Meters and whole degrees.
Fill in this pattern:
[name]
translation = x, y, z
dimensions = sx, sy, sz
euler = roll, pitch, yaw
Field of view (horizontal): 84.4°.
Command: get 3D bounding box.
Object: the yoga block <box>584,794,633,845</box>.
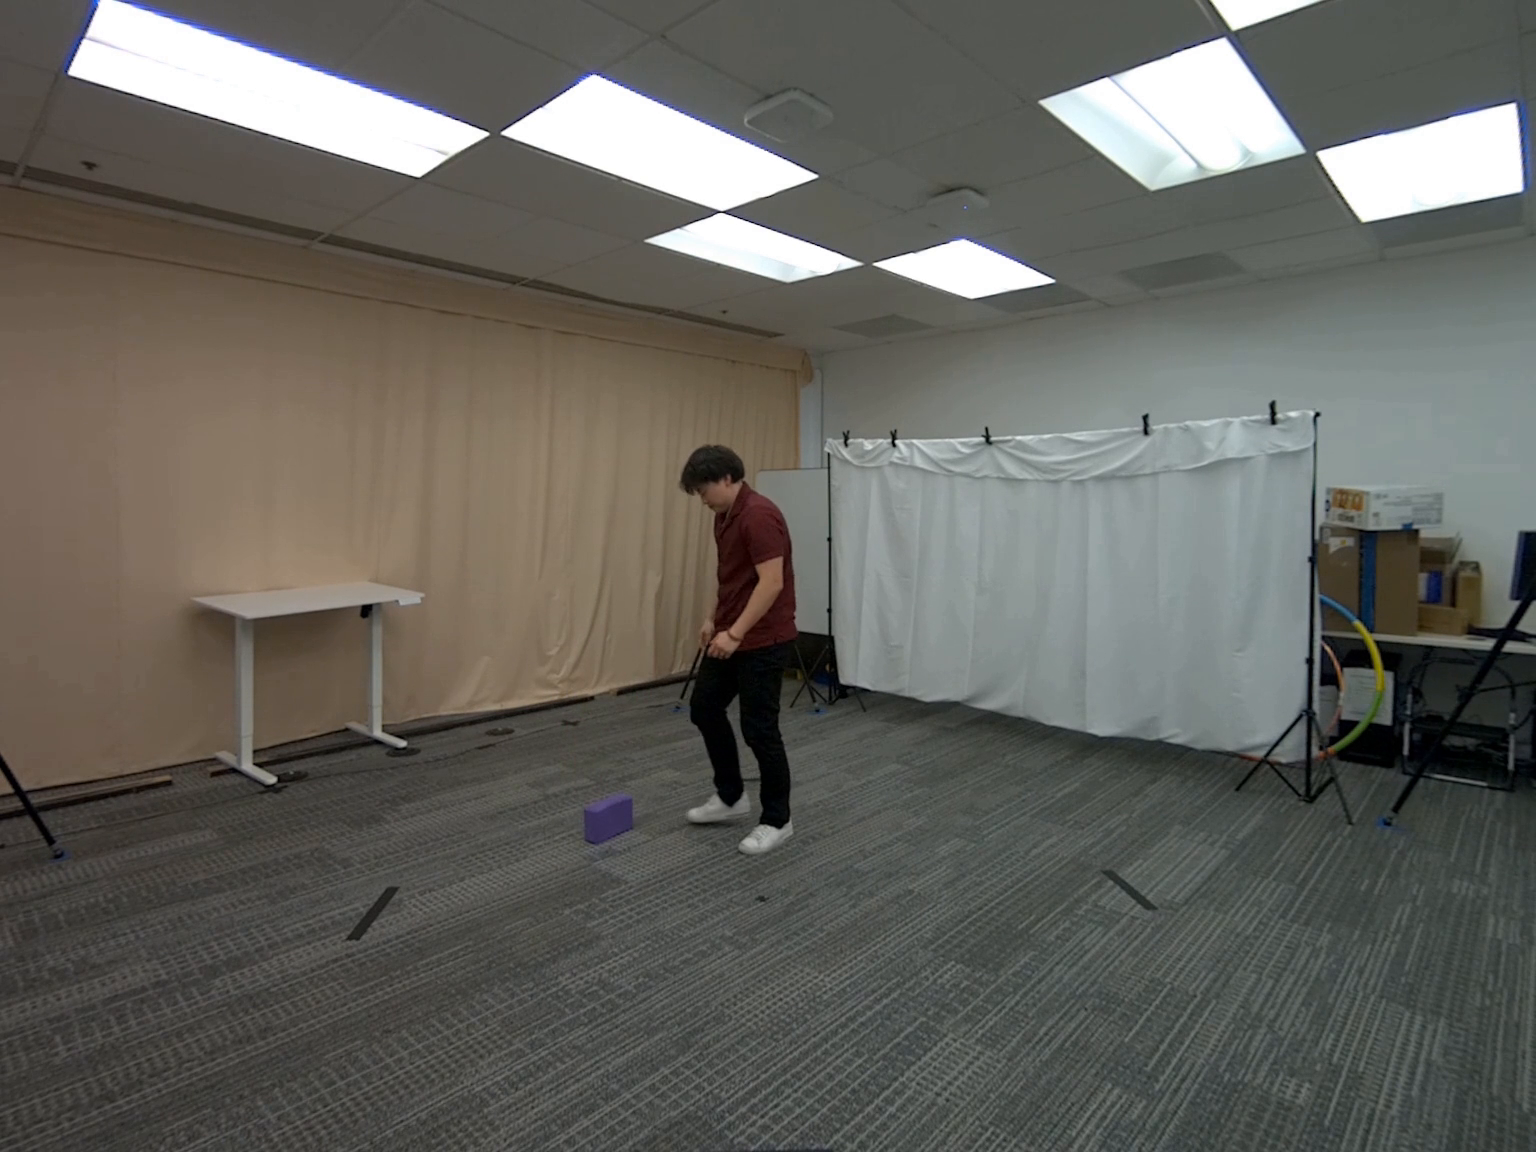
[yoga block]
translation = -0.678, 1.029, 3.583
dimensions = 0.079, 0.148, 0.223
euler = 1, 5, 35
